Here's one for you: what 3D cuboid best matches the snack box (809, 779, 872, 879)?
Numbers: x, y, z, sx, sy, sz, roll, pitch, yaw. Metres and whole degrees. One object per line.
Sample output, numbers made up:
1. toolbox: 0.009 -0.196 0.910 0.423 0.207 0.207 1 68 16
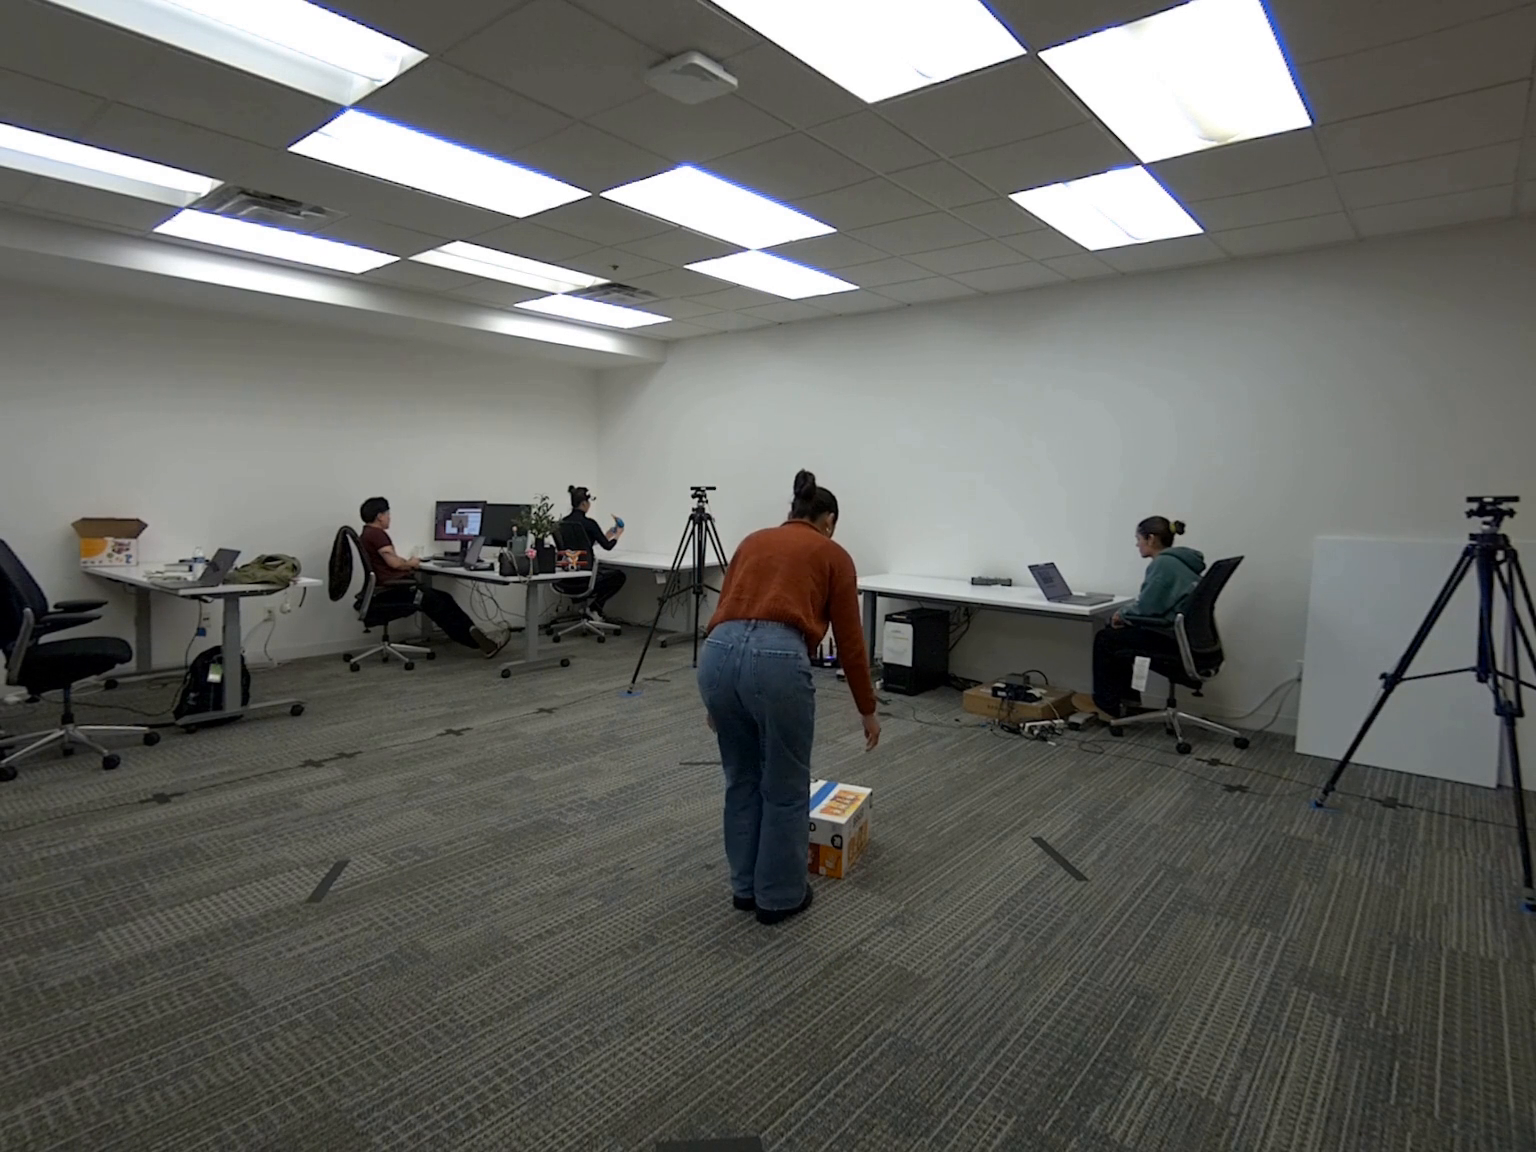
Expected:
1. snack box: 0.179 0.953 3.286 0.349 0.205 0.397 4 6 23
